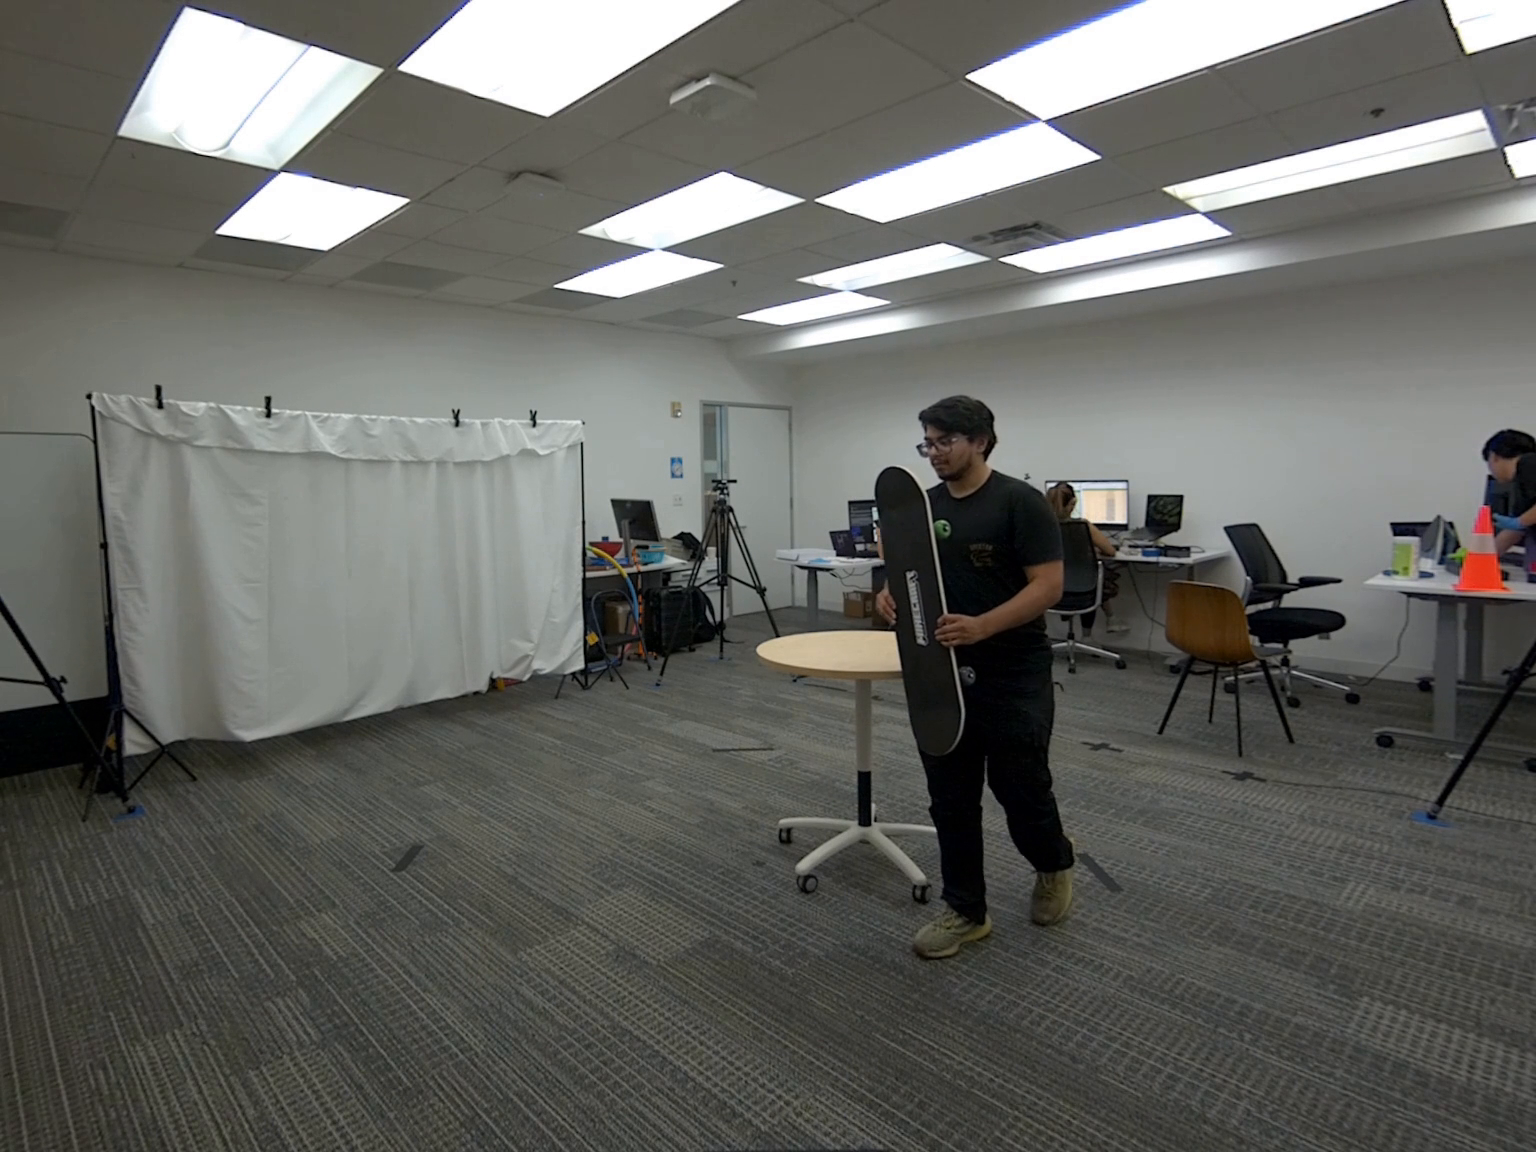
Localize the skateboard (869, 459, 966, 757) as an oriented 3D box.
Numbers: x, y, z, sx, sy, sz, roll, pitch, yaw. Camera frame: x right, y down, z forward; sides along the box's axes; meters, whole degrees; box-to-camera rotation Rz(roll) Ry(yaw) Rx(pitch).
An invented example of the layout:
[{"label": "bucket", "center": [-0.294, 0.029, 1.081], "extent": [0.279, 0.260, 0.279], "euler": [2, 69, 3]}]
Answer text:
[{"label": "skateboard", "center": [0.446, 0.084, 2.352], "extent": [0.108, 0.791, 0.197], "euler": [-4, -8, -33]}]
